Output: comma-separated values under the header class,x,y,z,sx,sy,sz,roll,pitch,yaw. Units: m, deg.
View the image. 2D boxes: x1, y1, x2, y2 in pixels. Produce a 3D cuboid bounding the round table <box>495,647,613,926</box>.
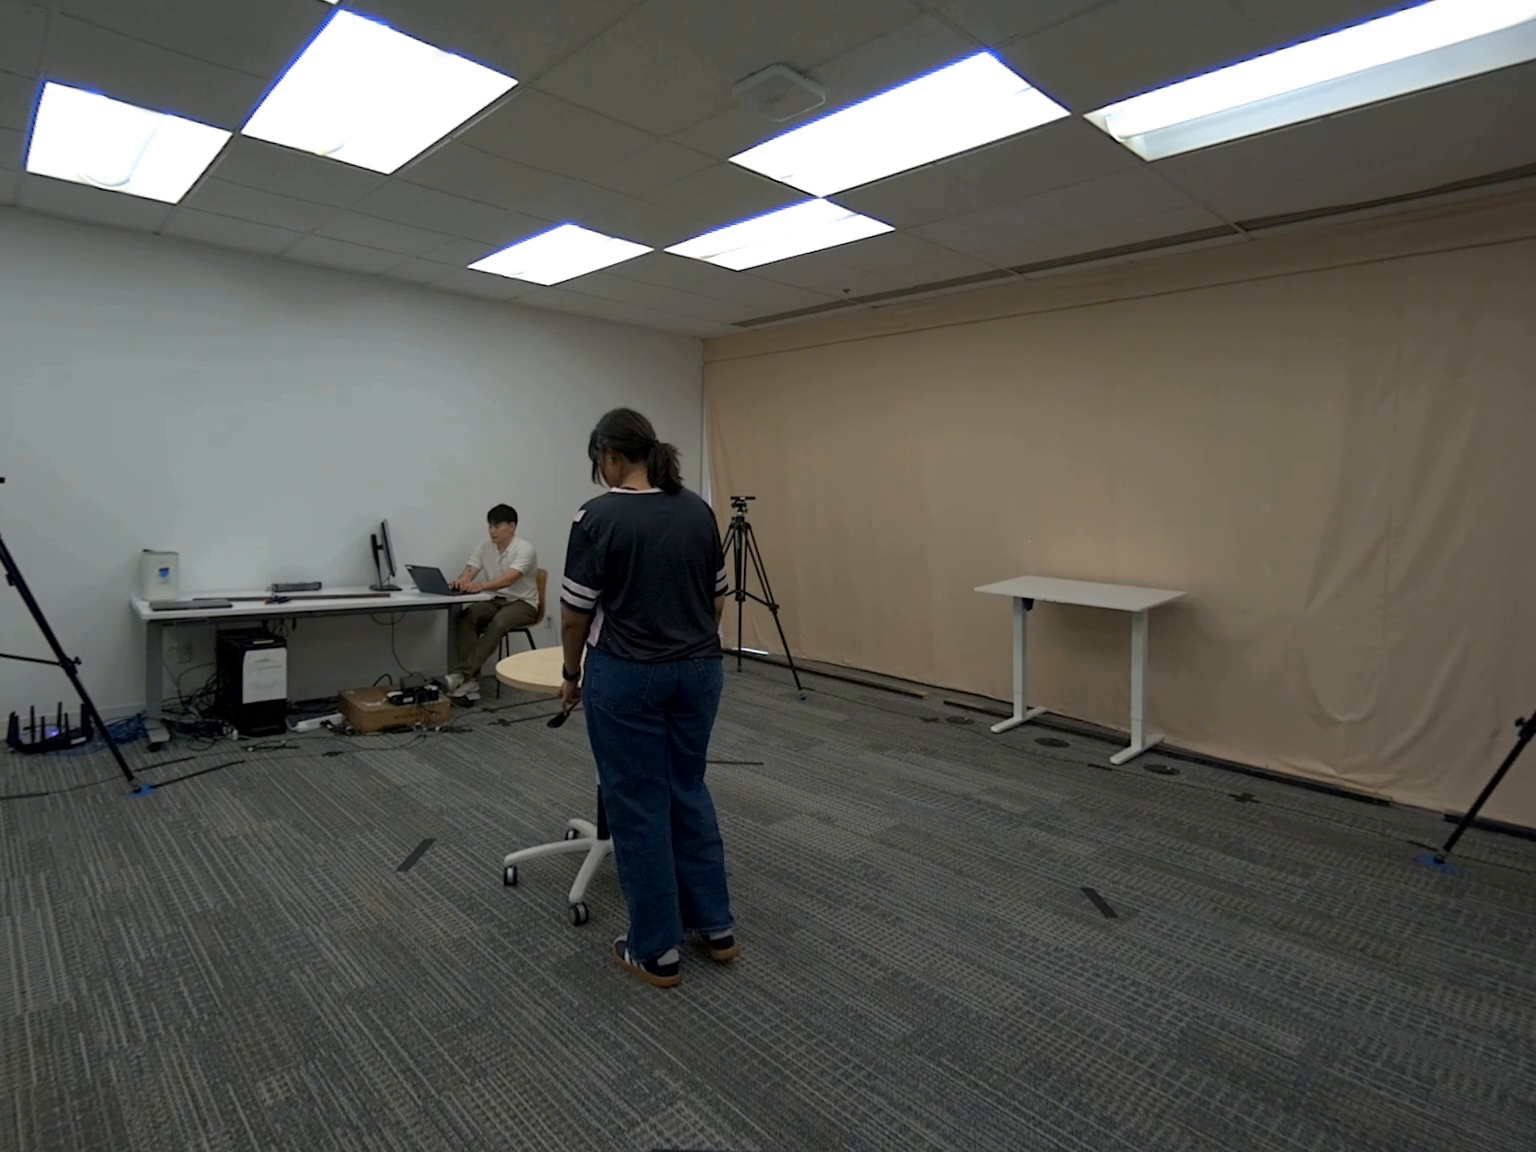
class,x,y,z,sx,sy,sz,roll,pitch,yaw
round table,-0.598,0.711,3.059,0.763,0.792,0.767,1,4,-1
